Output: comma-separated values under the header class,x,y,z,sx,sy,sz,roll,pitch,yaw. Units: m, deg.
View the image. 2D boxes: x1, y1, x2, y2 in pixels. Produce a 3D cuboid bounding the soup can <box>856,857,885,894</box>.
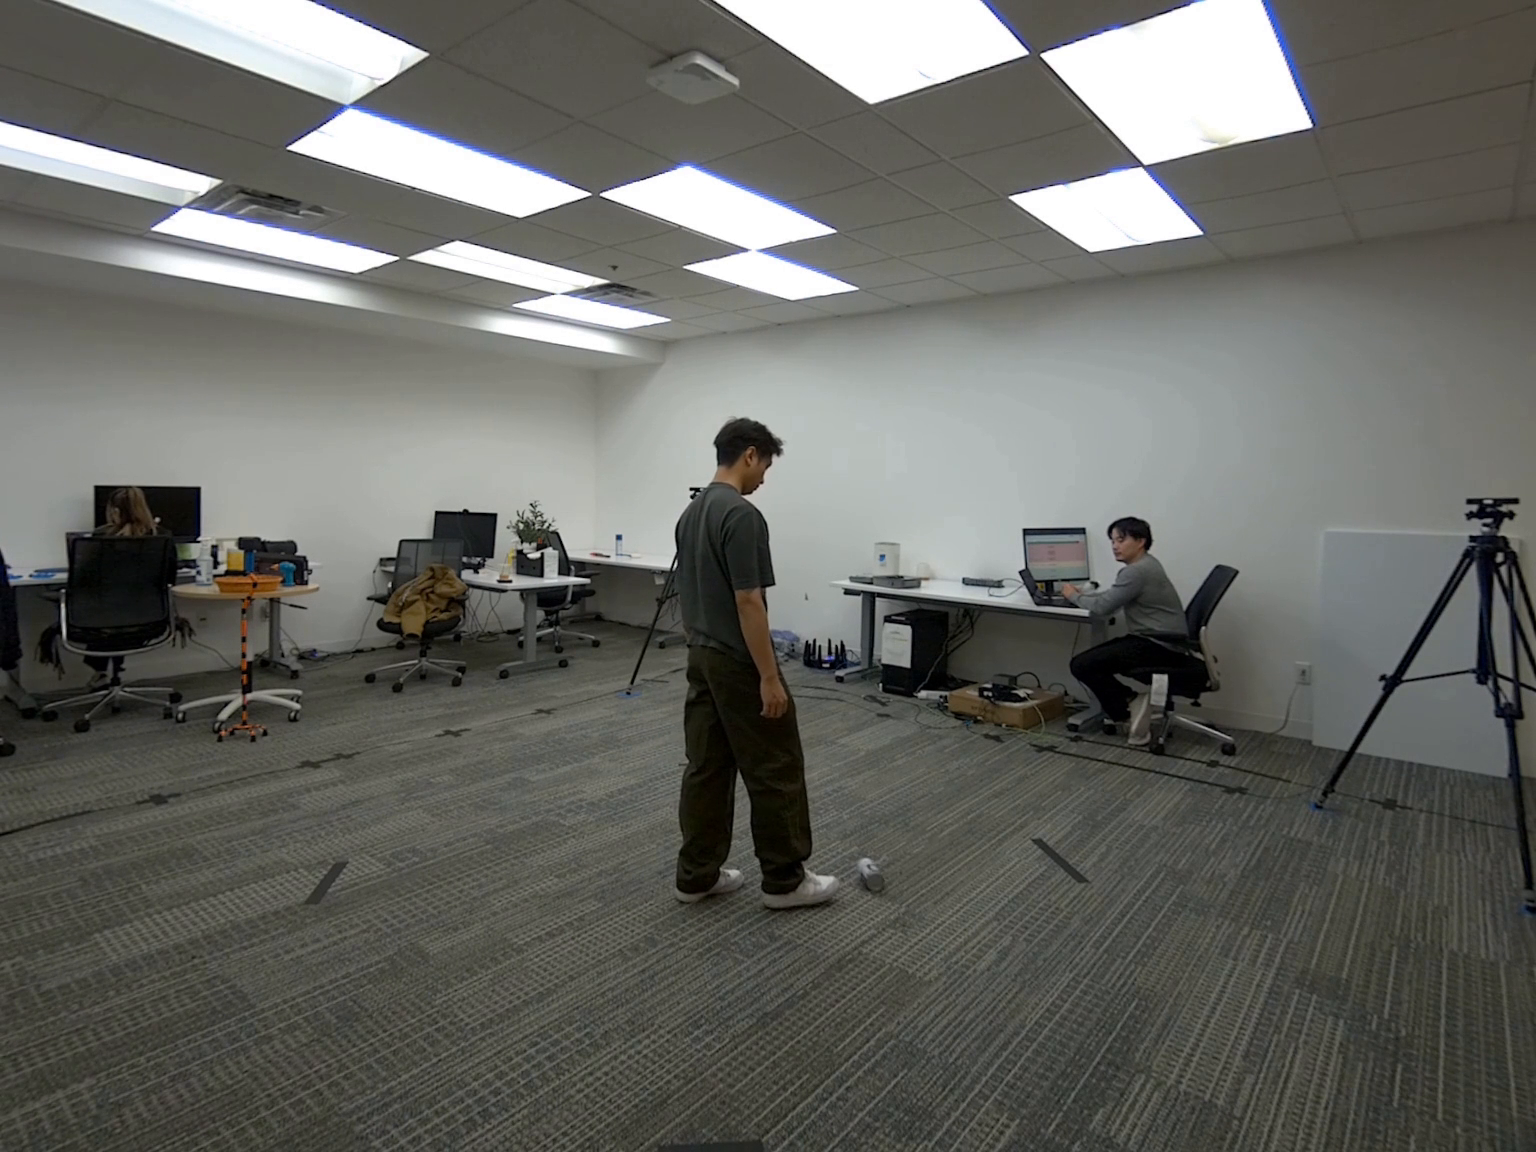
class,x,y,z,sx,sy,sz,roll,pitch,yaw
soup can,0.356,1.054,3.008,0.066,0.067,0.124,0,6,-14
